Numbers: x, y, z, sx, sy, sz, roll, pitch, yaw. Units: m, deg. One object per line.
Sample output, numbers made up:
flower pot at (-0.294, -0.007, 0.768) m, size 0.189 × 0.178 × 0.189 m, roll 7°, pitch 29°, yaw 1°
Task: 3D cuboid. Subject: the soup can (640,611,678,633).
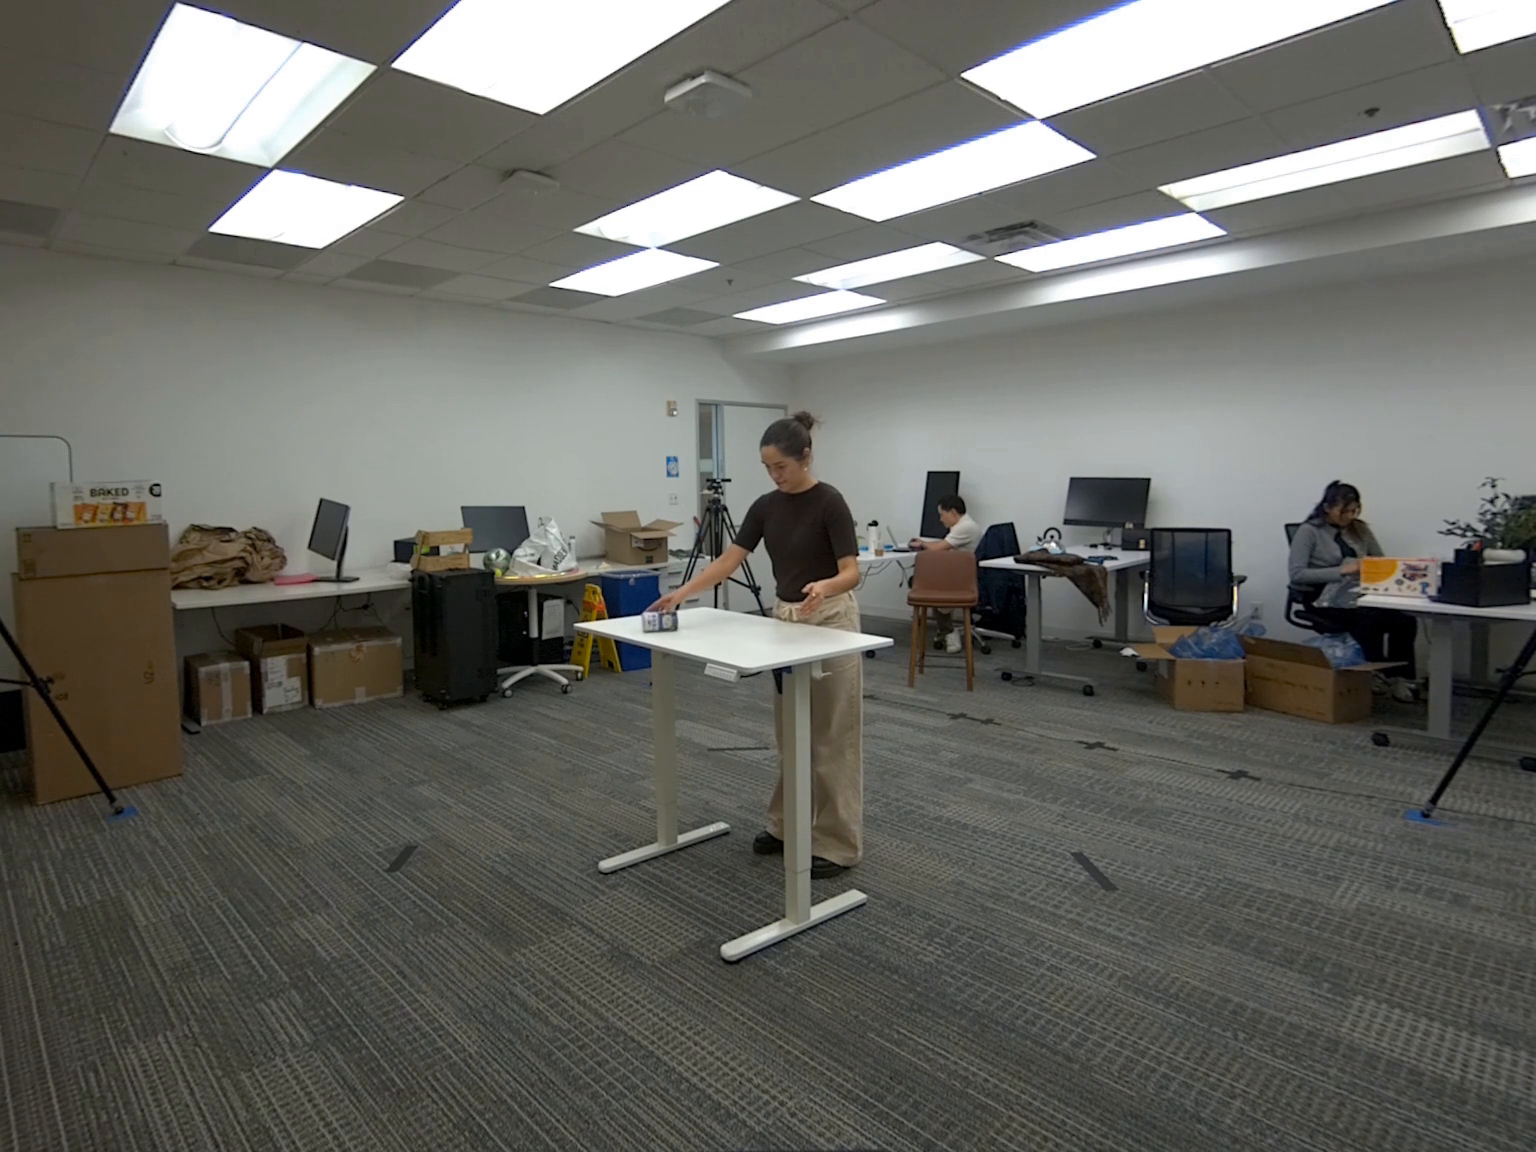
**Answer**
soup can at (-0.370, 0.160, 2.926) m, size 0.121 × 0.067 × 0.067 m, roll -3°, pitch 5°, yaw -3°
